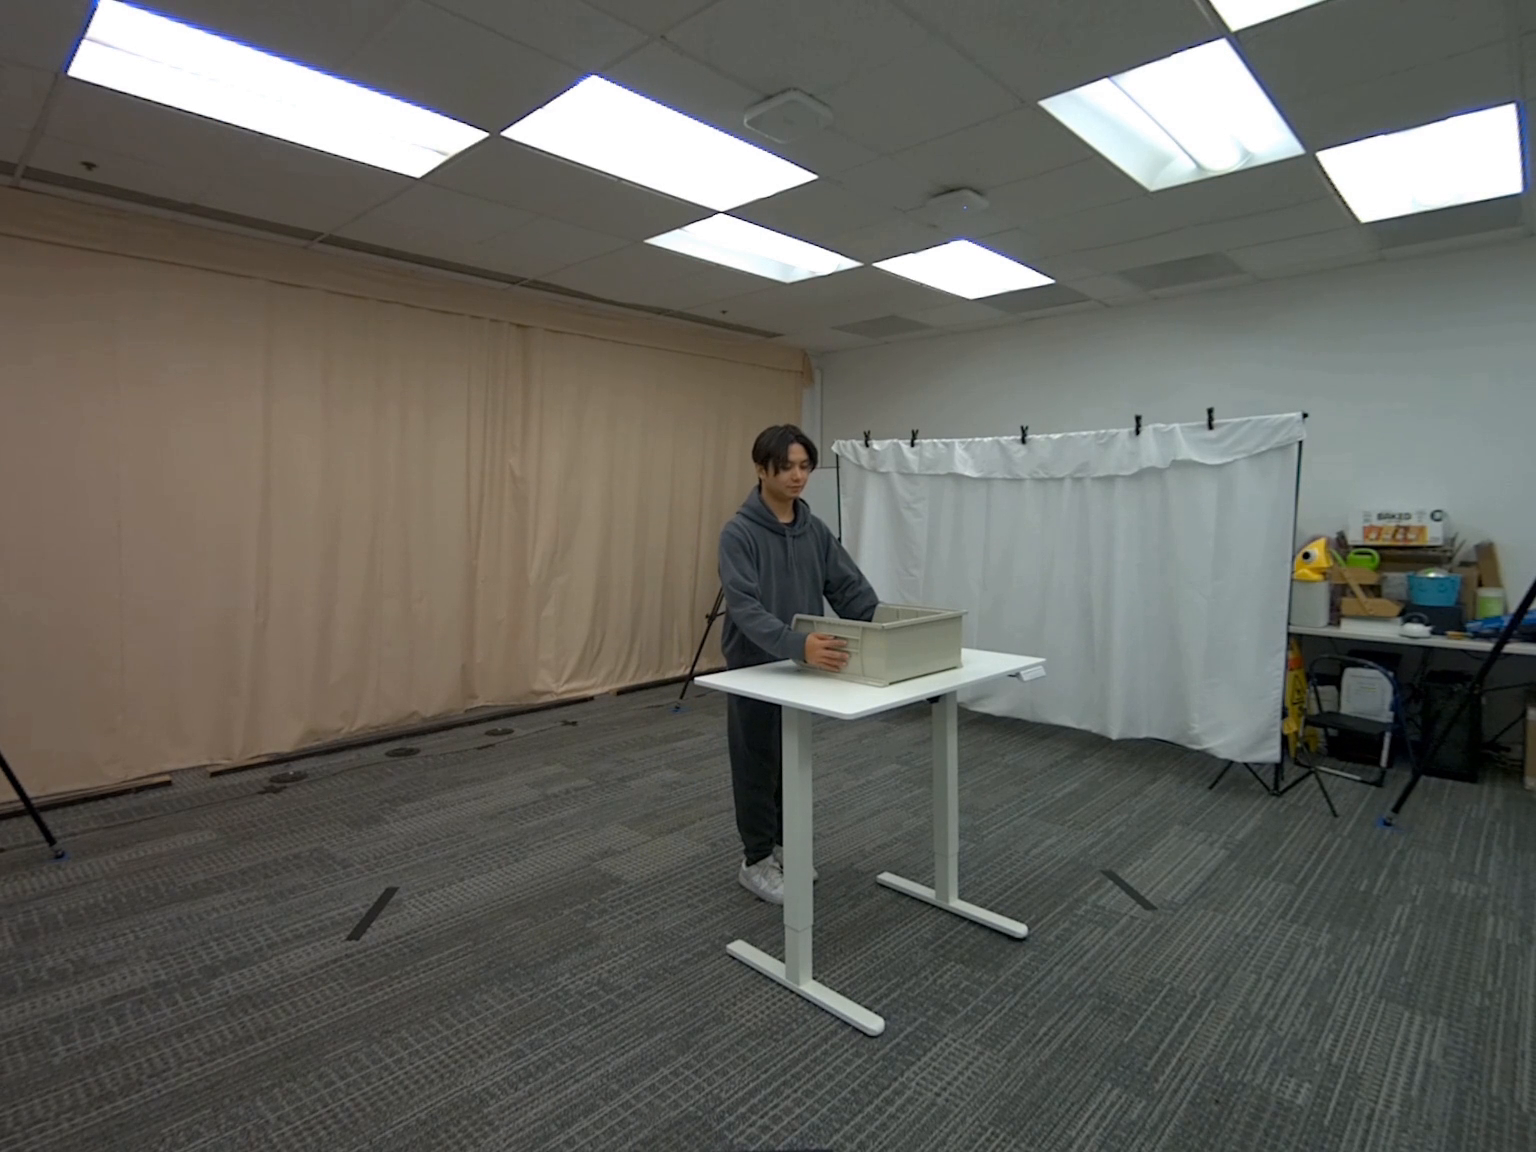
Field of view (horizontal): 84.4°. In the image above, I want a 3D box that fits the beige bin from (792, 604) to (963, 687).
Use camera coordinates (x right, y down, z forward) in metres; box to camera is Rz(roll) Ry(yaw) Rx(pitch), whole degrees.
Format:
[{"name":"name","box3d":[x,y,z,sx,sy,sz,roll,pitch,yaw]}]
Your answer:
[{"name":"beige bin","box3d":[0.350,0.208,2.602,0.409,0.188,0.390,-5,6,-44]}]
